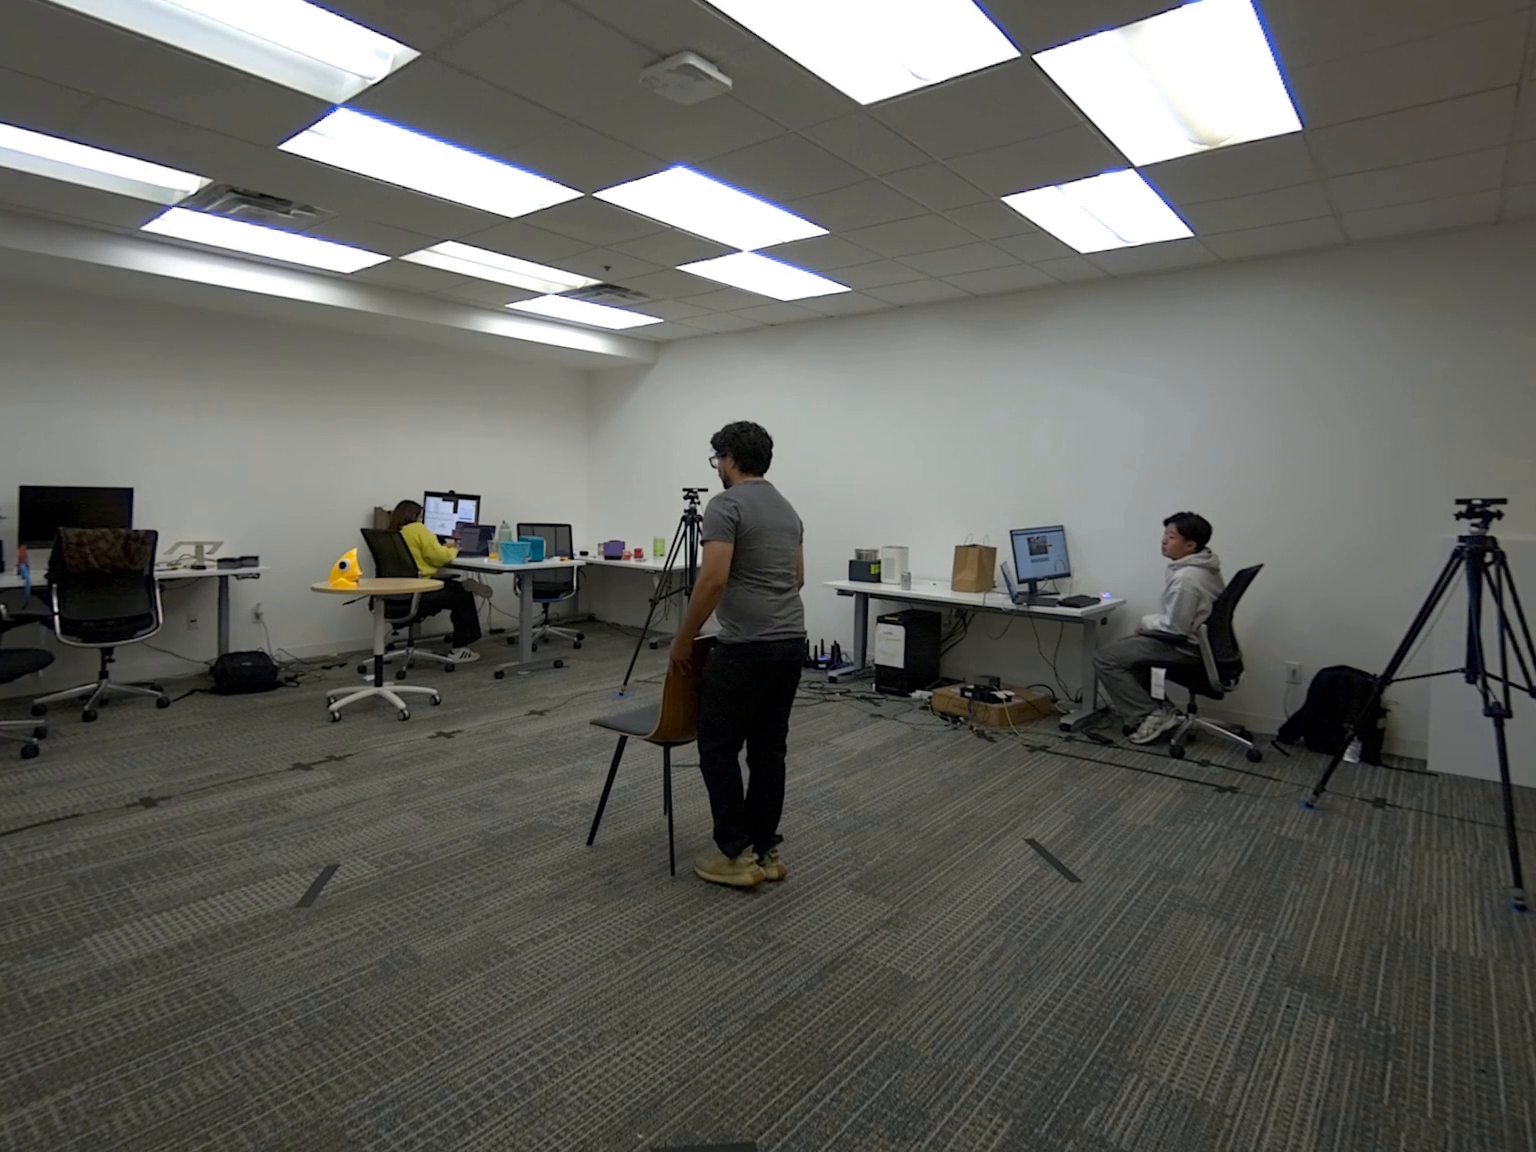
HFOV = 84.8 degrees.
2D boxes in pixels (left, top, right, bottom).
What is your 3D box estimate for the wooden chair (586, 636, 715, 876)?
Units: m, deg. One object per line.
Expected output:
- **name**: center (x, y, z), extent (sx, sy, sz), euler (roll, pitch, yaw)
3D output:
- **wooden chair**: center (-0.412, 0.610, 3.315), extent (0.541, 0.873, 0.464), euler (8, 7, 38)
